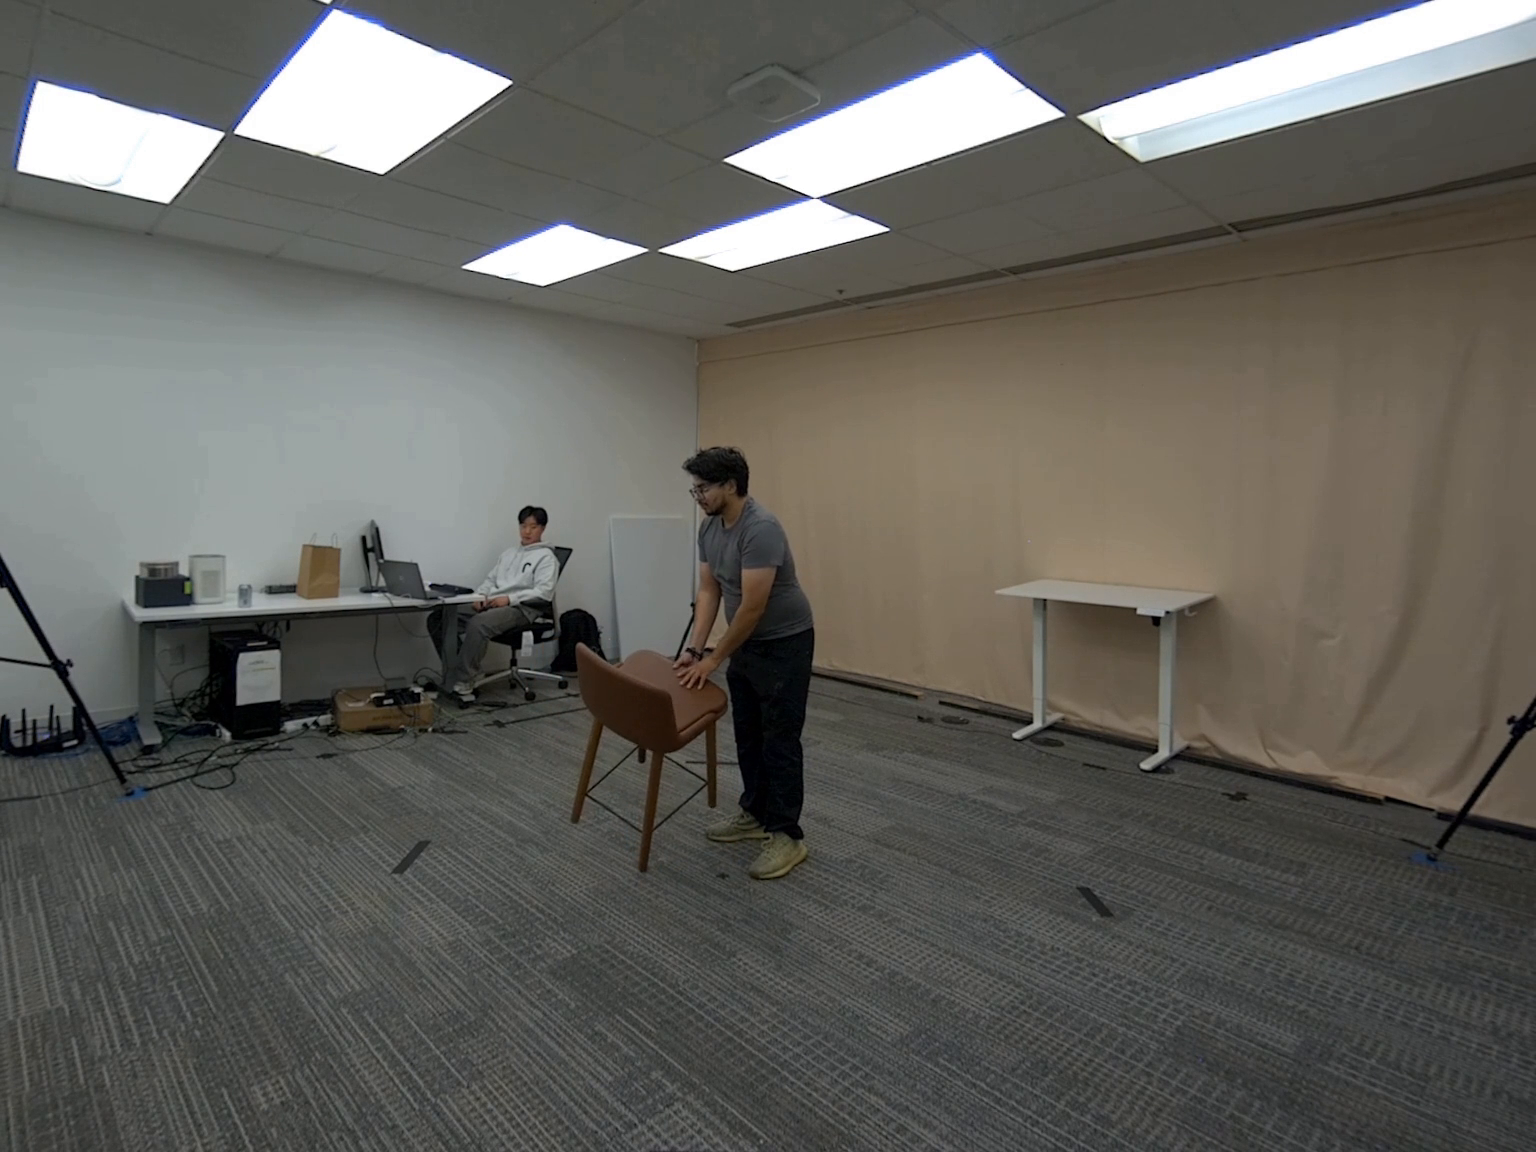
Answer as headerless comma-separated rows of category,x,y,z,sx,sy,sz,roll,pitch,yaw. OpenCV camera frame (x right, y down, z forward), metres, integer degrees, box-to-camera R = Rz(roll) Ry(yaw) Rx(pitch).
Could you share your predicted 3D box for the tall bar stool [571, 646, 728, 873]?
tall bar stool,-0.454,0.588,3.152,0.468,0.875,0.464,25,35,26
